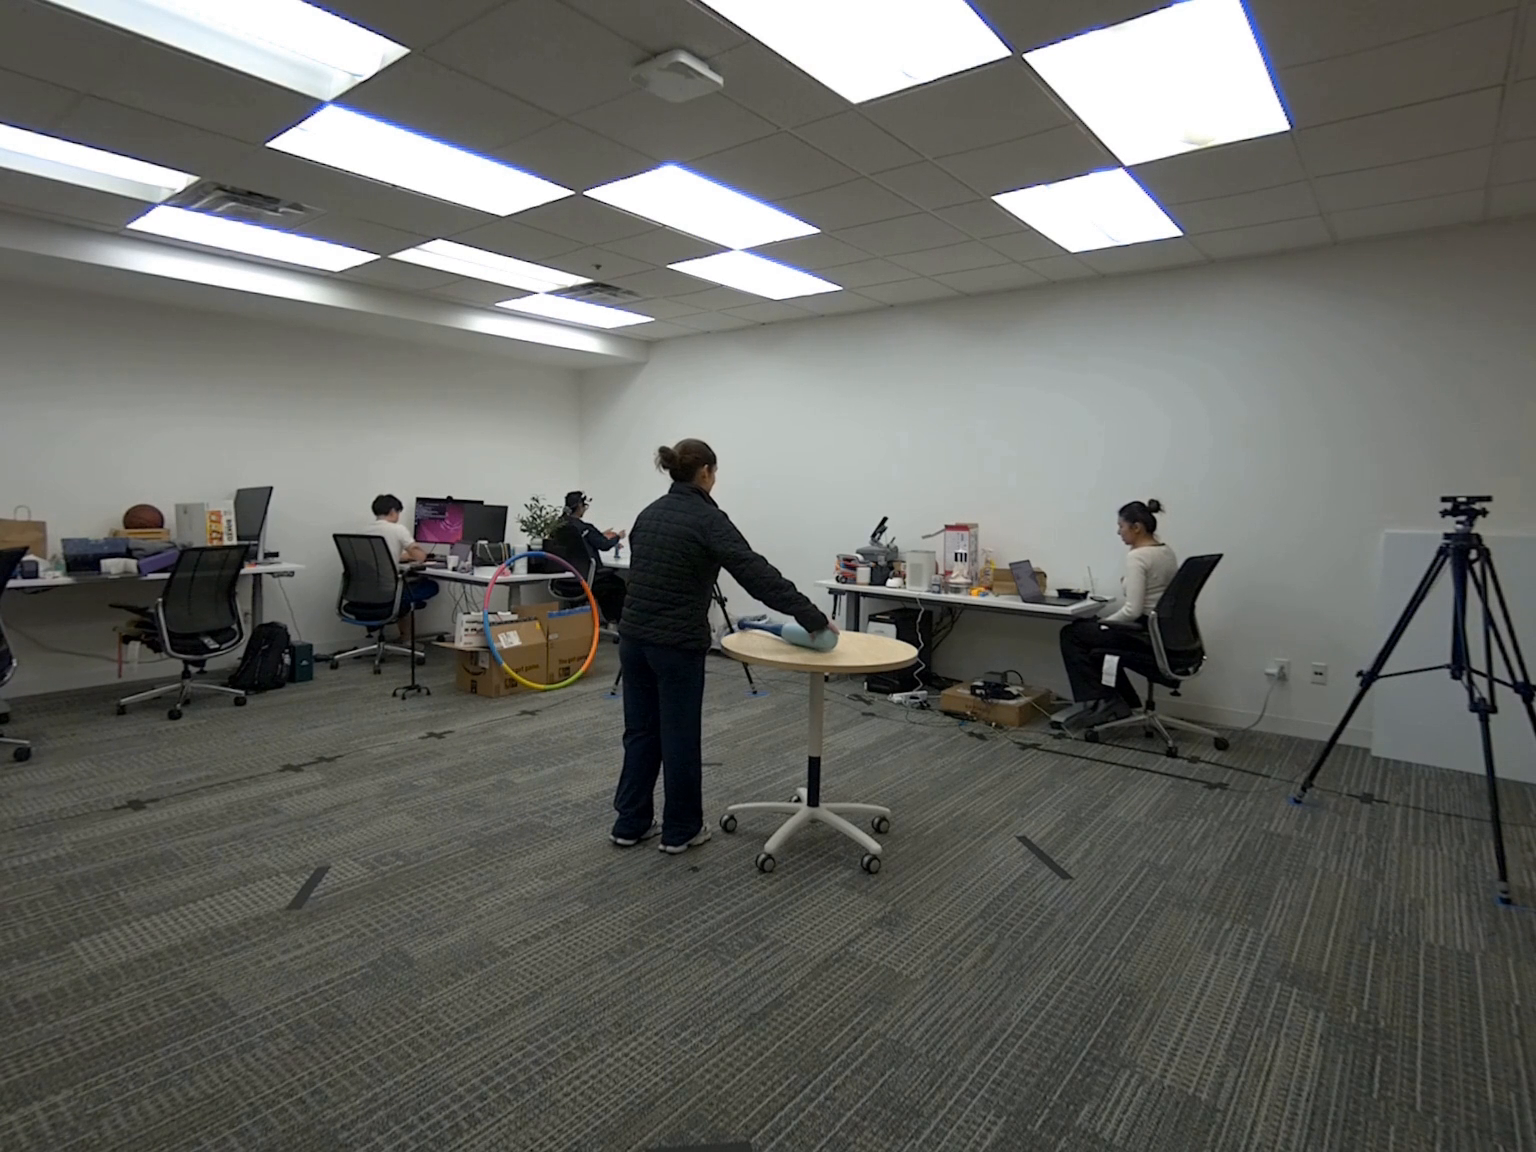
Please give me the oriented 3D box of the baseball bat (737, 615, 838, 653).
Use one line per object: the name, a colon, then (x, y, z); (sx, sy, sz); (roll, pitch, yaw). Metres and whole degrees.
baseball bat: (0.072, 0.222, 3.413); (0.086, 0.089, 0.561); (-2, 6, -39)
